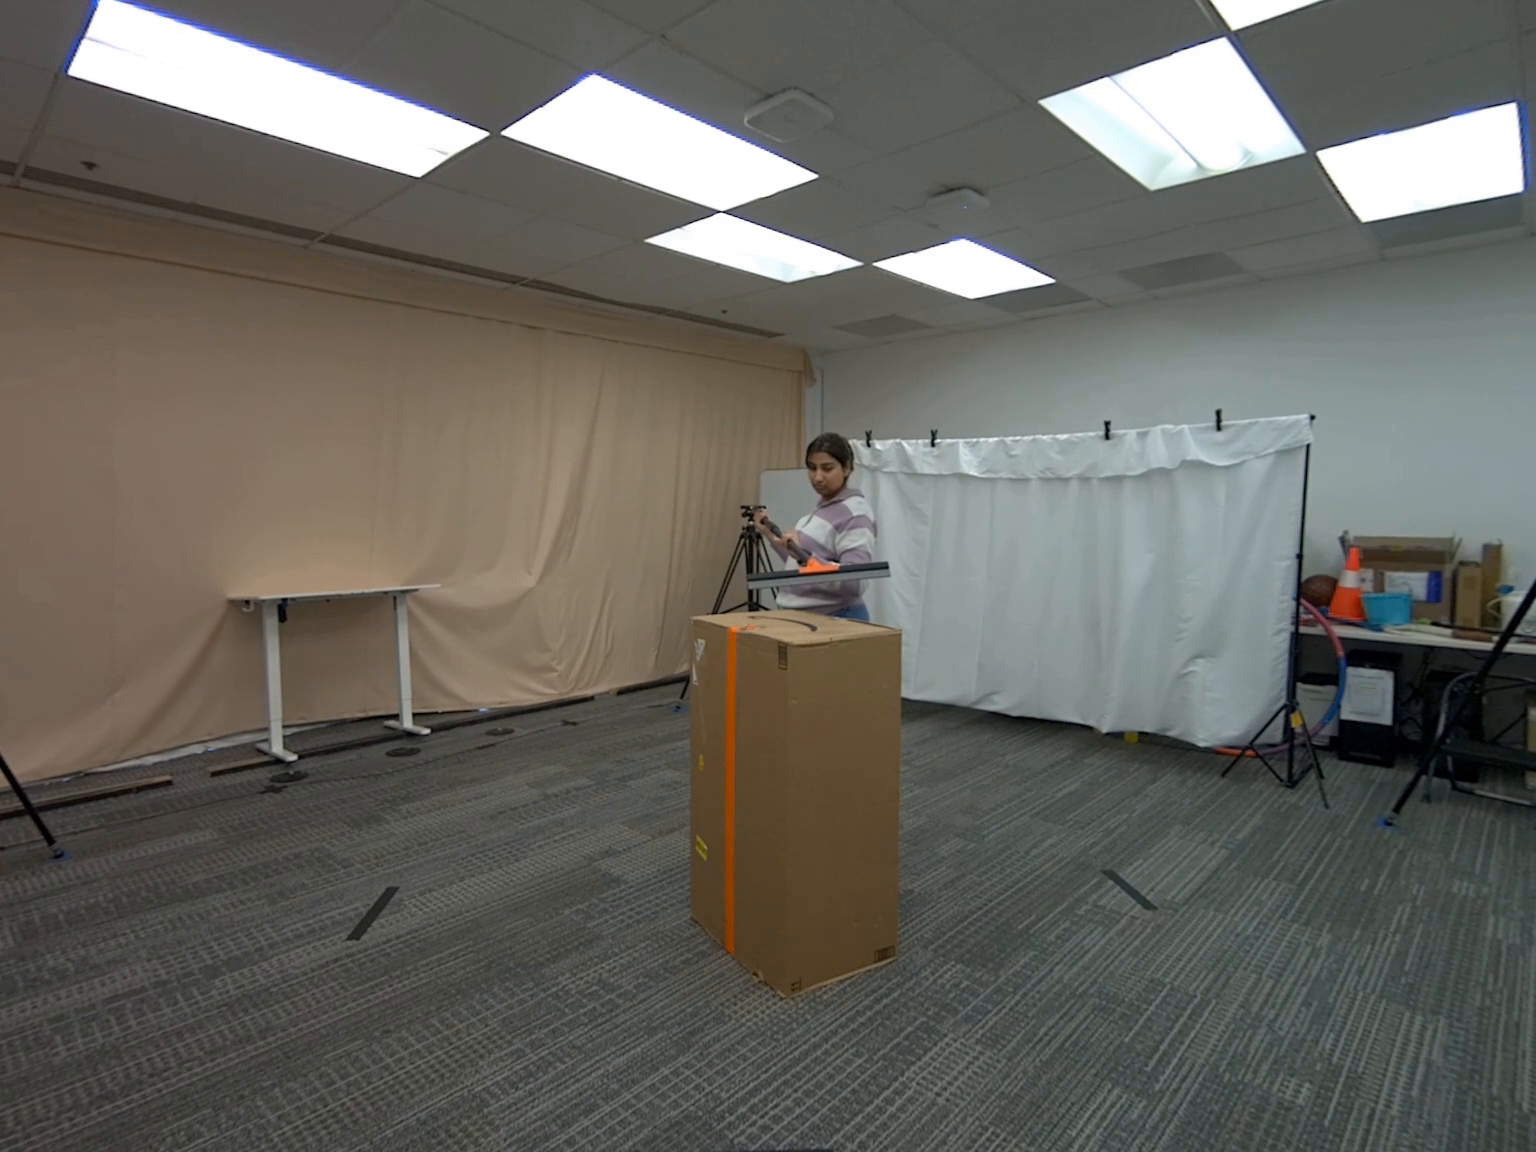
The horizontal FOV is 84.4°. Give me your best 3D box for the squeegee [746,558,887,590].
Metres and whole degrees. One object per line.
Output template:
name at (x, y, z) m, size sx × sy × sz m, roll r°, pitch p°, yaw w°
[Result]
squeegee at (0.037, -0.164, 3.264) m, size 0.436 × 0.052 × 1.555 m, roll 0°, pitch 13°, yaw -5°
